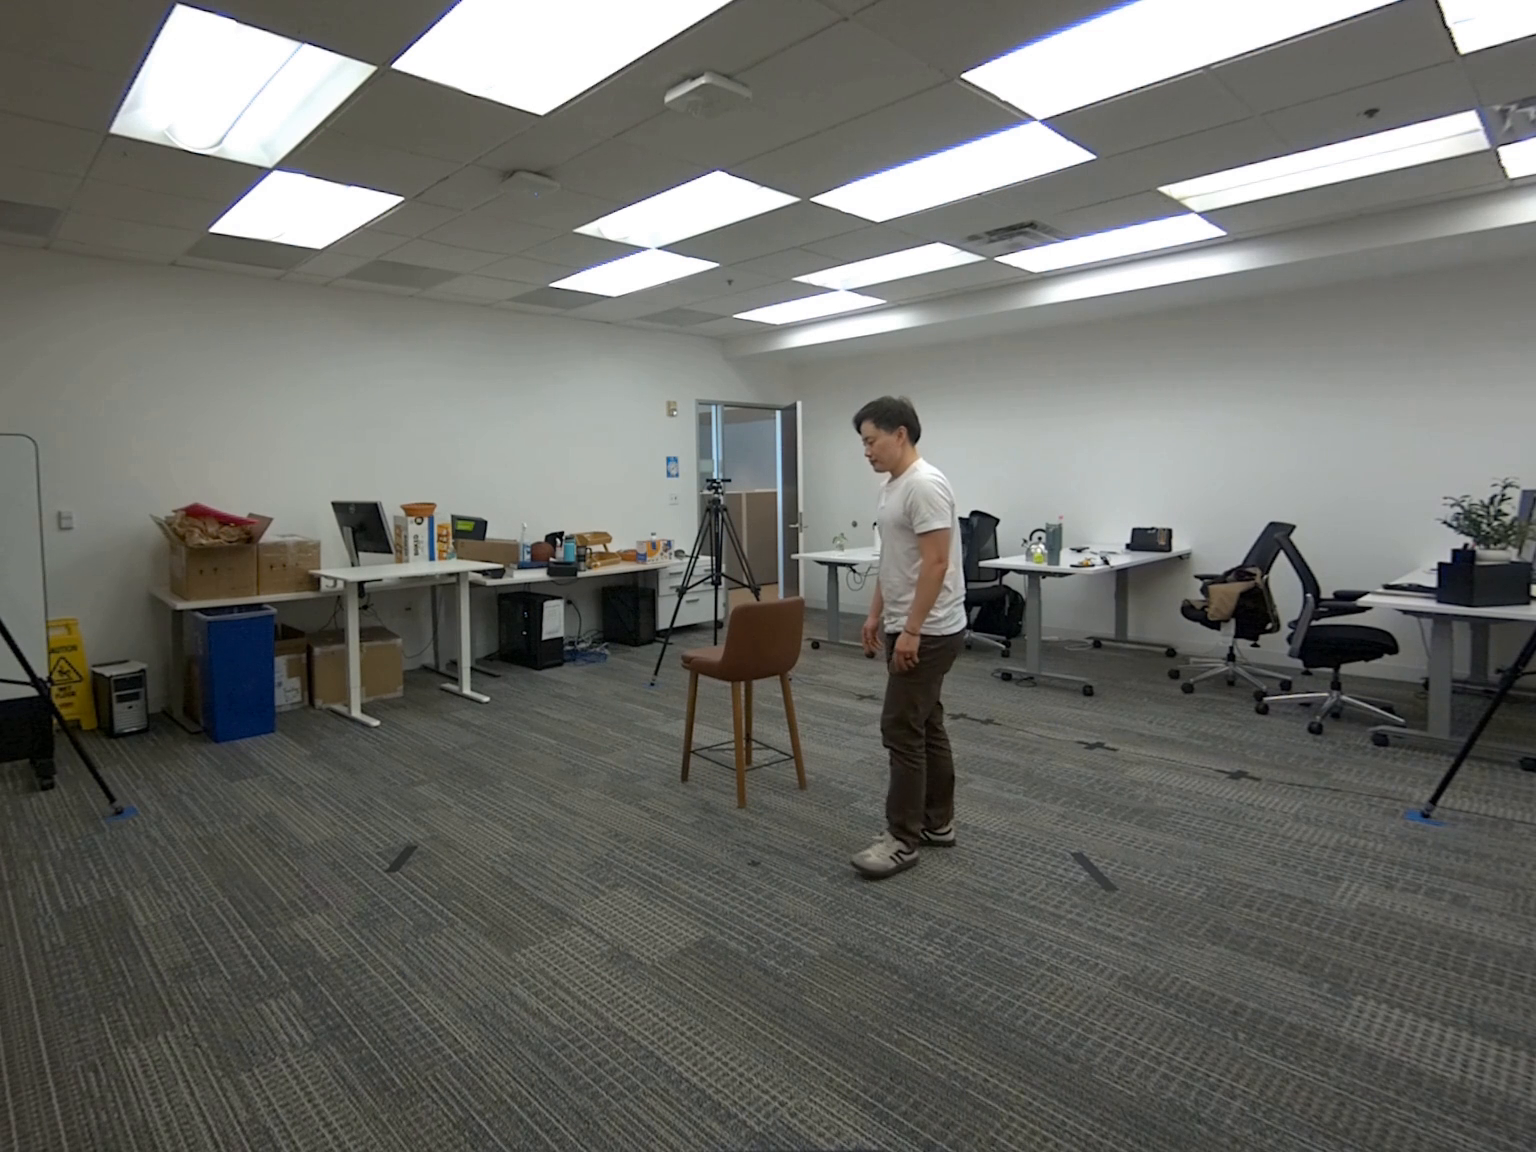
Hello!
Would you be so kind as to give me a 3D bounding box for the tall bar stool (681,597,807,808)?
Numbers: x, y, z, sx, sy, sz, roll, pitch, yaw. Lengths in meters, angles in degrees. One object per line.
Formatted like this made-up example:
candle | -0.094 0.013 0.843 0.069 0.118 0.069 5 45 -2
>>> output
tall bar stool | -0.113 0.523 3.890 0.444 0.886 0.482 -3 6 -38
